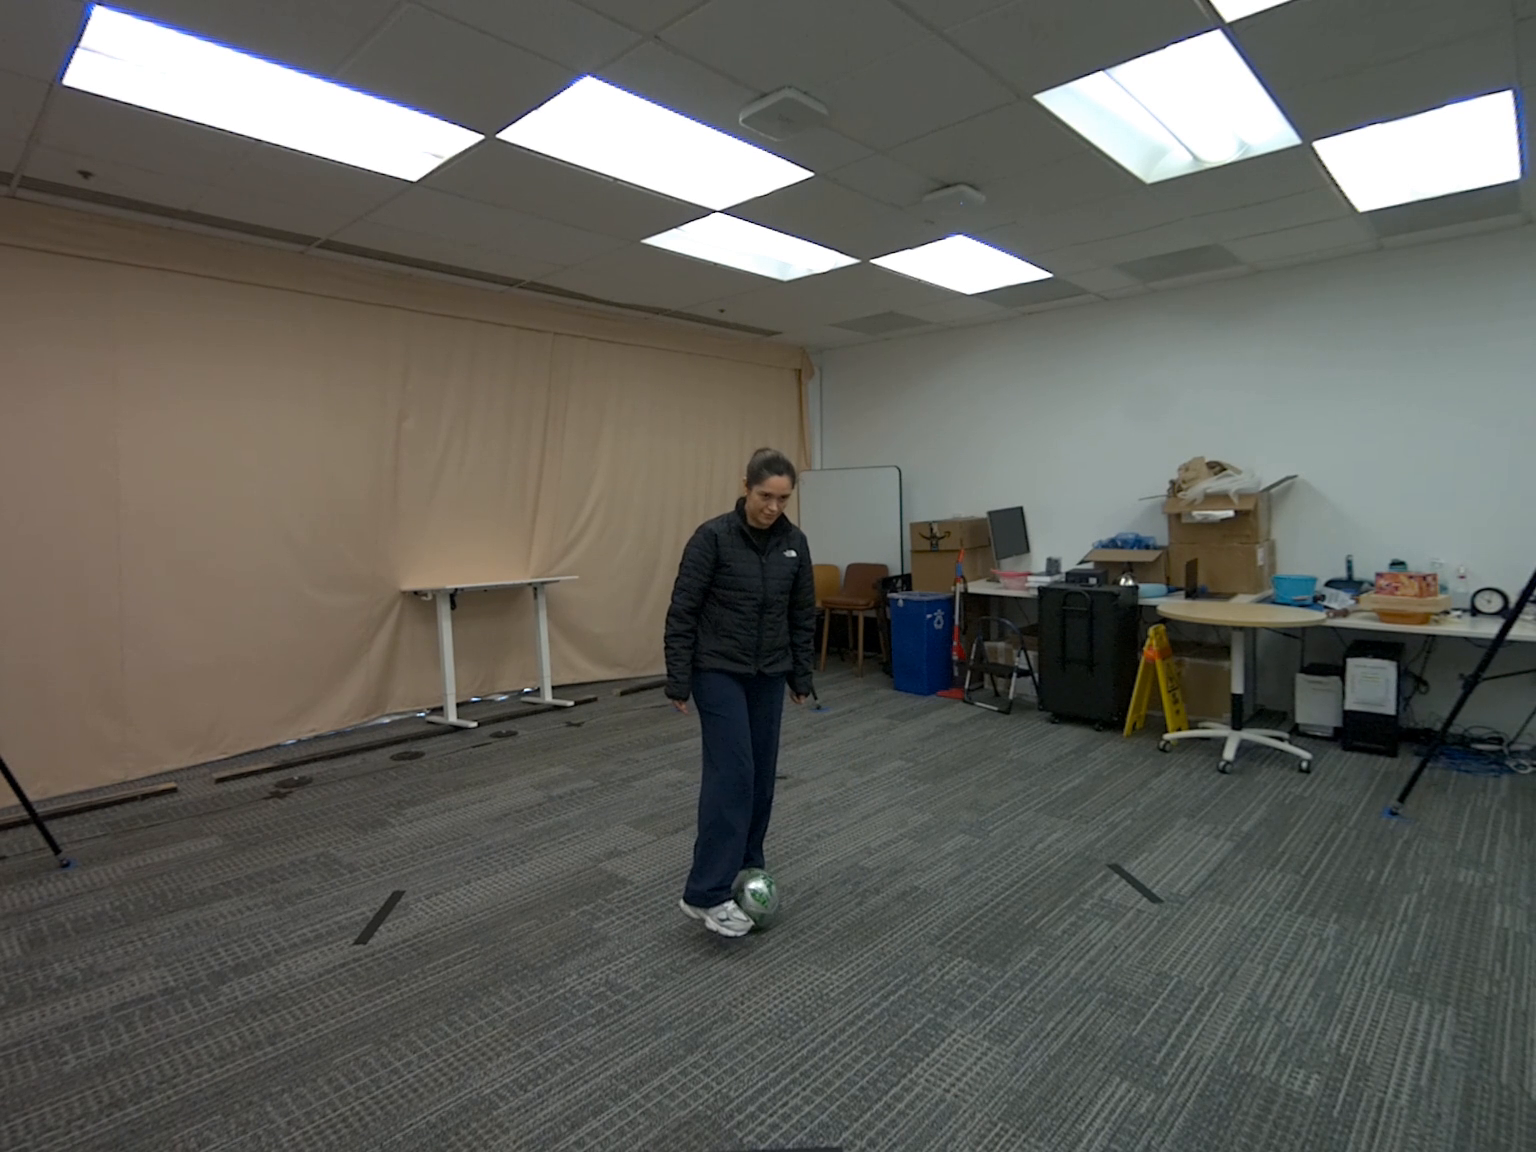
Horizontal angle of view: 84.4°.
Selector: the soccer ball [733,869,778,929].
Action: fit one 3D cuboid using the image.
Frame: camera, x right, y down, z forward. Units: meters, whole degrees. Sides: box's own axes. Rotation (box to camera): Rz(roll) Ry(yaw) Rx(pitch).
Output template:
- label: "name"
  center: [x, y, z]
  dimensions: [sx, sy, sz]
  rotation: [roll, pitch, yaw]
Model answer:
- label: "soccer ball"
  center: [-0.052, 1.059, 2.775]
  dimensions: [0.187, 0.187, 0.188]
  rotation: [-1, 4, -2]
